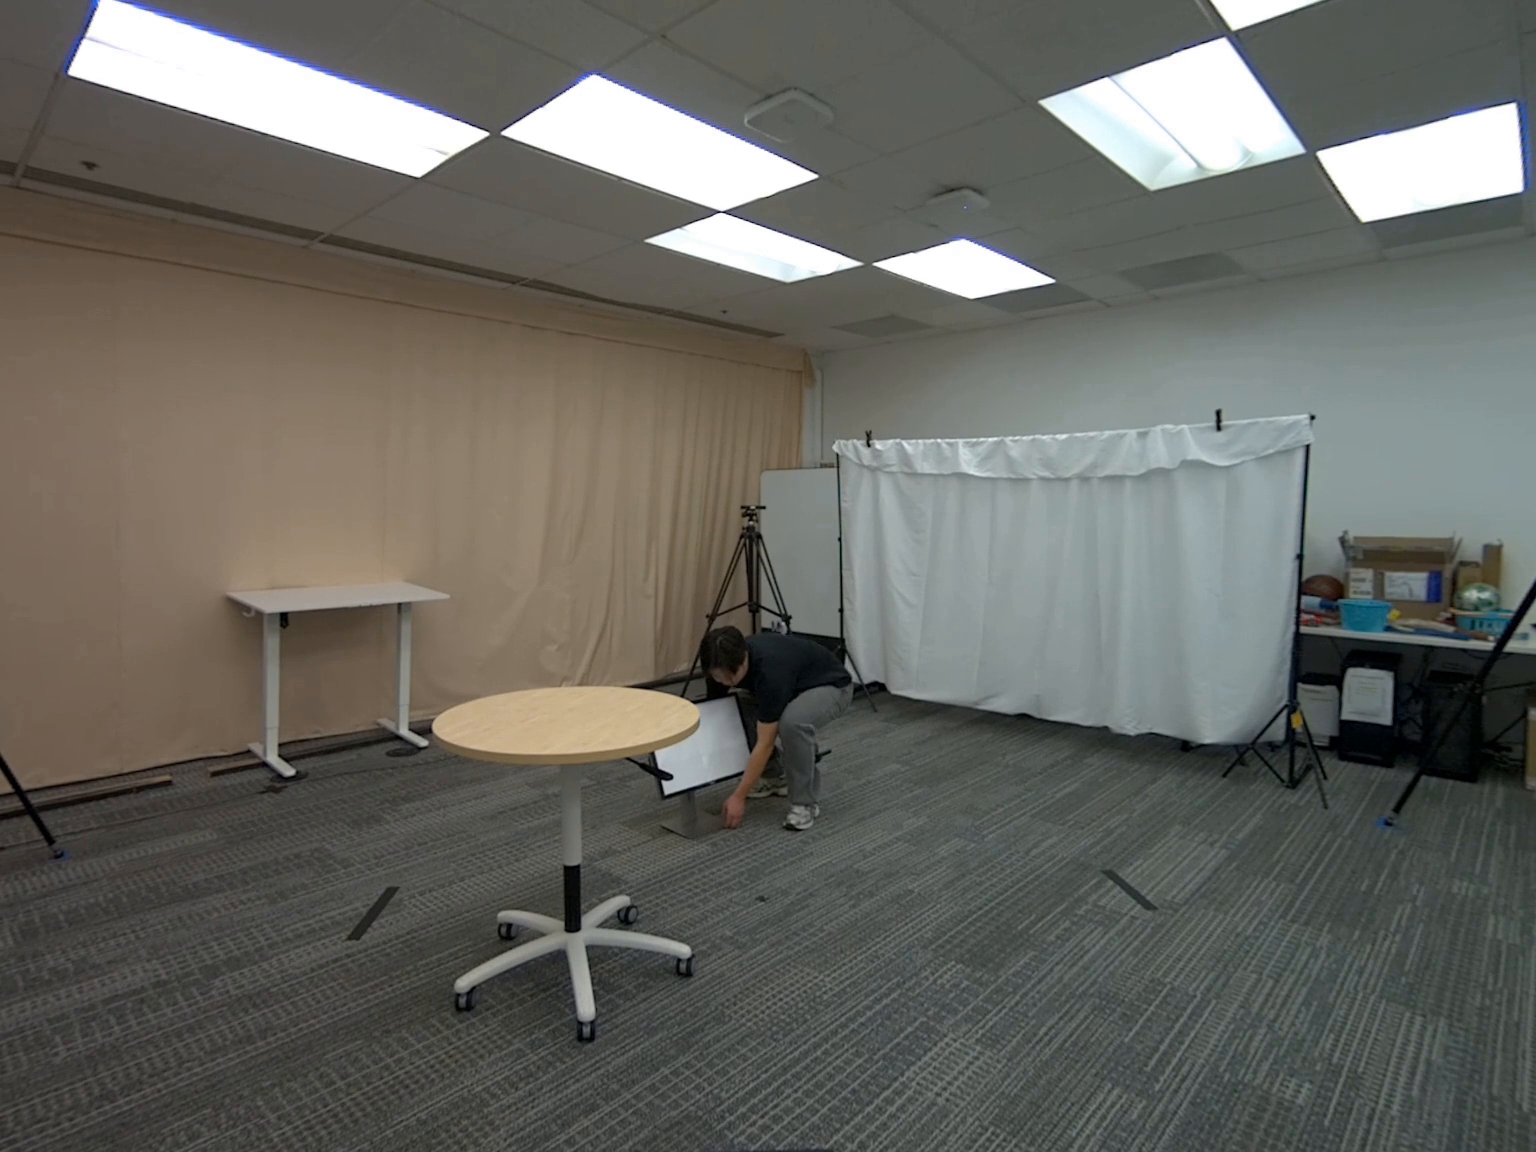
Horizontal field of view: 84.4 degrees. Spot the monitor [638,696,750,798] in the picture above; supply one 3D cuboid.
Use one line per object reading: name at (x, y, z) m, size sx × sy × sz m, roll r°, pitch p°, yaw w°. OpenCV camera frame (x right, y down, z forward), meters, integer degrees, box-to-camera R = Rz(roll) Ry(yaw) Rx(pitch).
monitor at (-0.316, 0.830, 3.658) m, size 0.229 × 0.565 × 0.544 m, roll 1°, pitch 3°, yaw 44°
